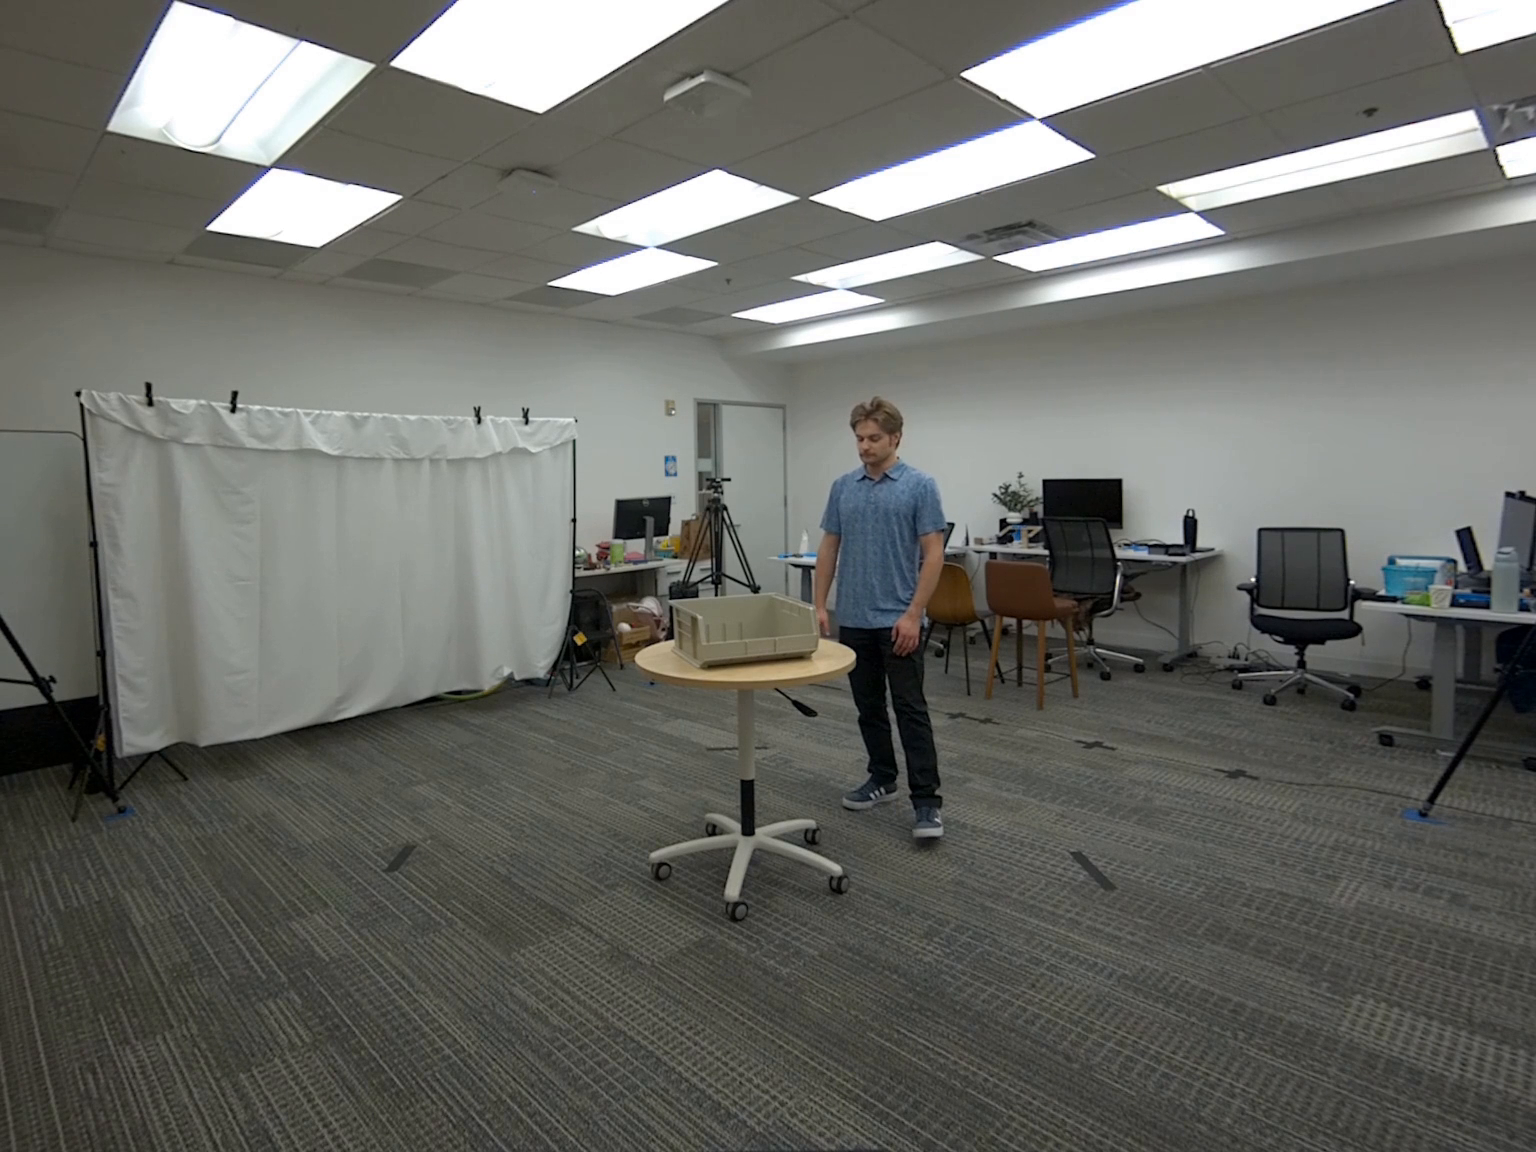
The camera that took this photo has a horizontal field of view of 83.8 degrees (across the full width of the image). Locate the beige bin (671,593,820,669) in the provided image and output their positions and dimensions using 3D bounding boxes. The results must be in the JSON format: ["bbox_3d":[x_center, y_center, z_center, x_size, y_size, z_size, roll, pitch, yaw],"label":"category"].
[{"bbox_3d":[-0.091,0.187,2.954,0.415,0.188,0.385,-4,6,-20],"label":"beige bin"}]
